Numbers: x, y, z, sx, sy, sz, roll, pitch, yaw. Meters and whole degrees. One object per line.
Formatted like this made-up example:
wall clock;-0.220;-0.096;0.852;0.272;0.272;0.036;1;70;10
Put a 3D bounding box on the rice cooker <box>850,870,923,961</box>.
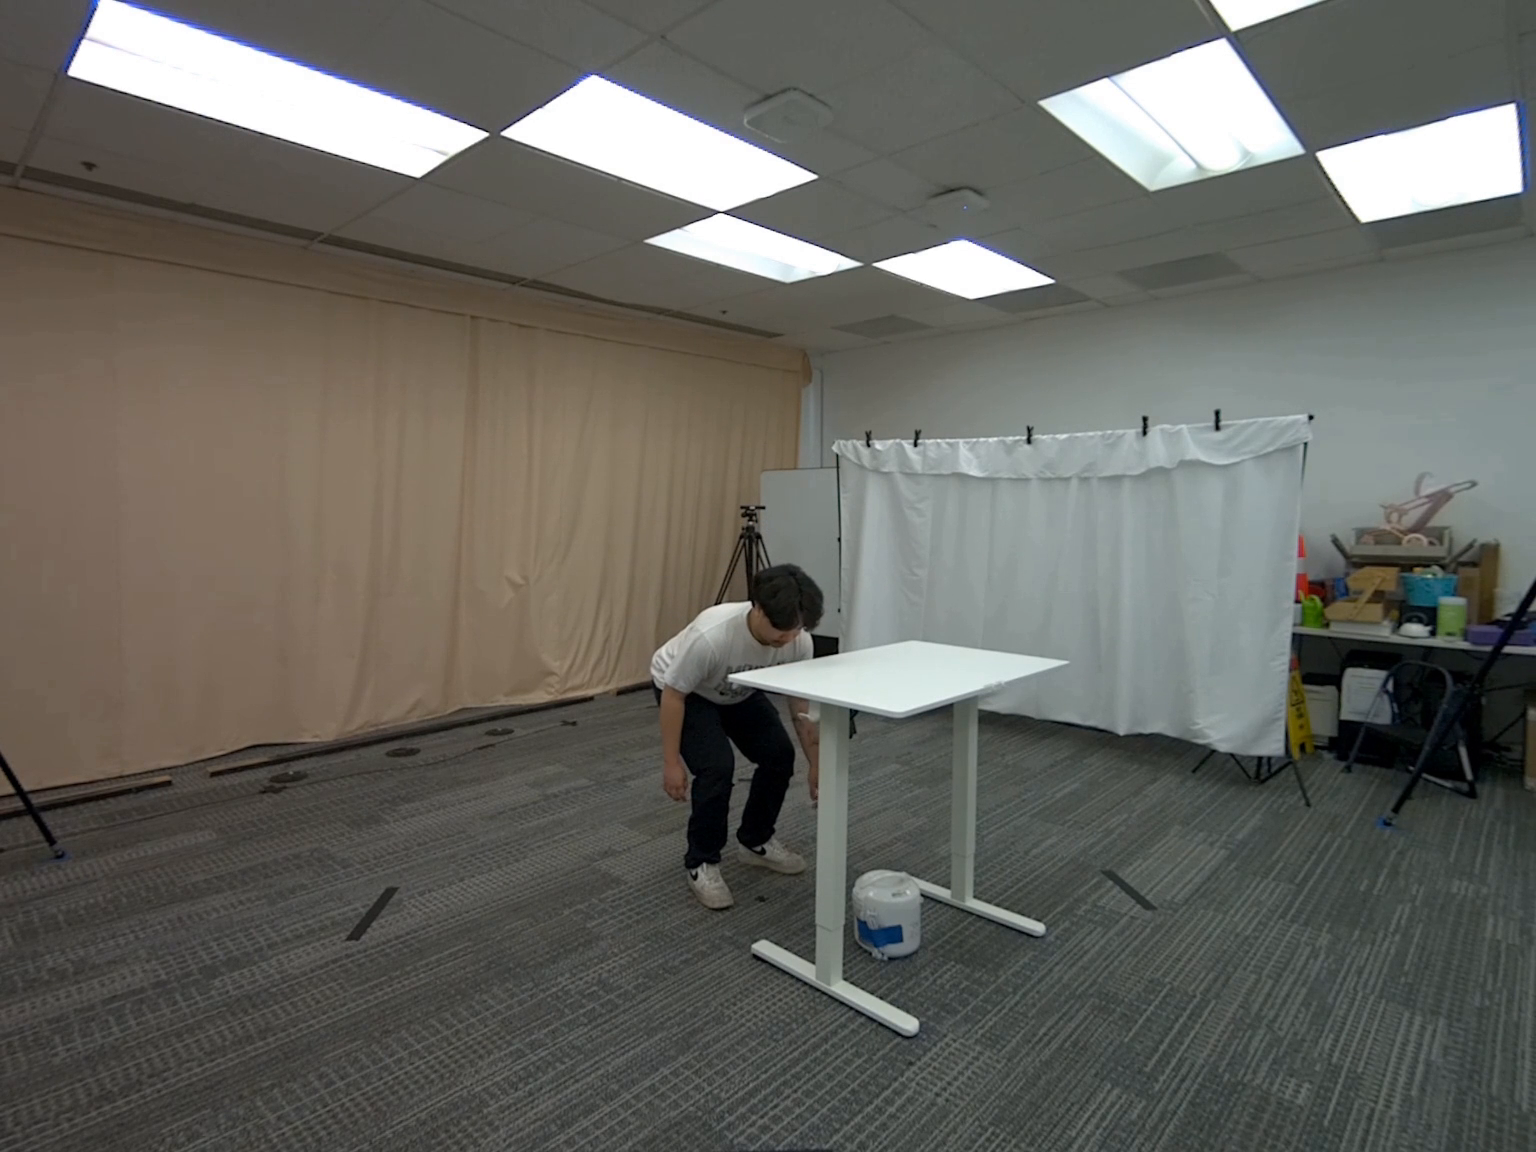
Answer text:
rice cooker;0.381;1.054;2.668;0.217;0.232;0.222;-1;4;-18
